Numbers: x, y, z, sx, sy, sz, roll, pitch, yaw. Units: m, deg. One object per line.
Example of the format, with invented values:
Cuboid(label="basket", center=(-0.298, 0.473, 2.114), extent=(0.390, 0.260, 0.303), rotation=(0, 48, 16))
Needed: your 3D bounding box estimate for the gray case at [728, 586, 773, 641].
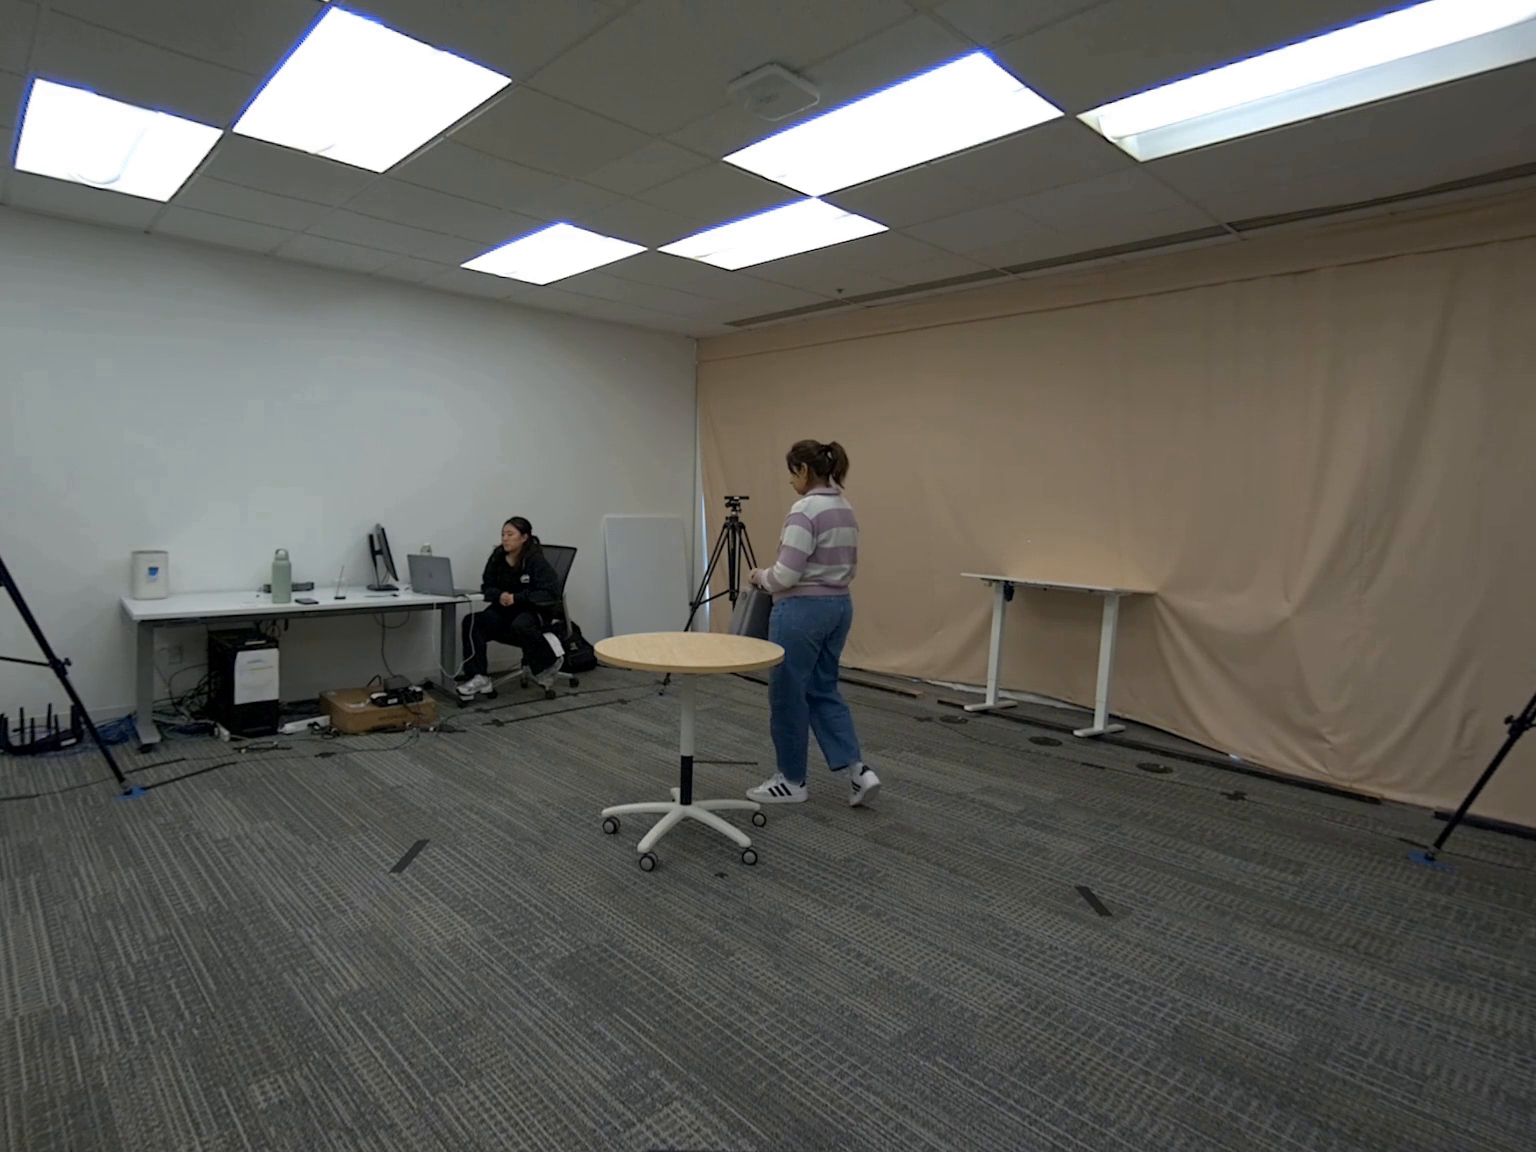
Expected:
Cuboid(label="gray case", center=(-0.058, 0.175, 3.908), extent=(0.107, 0.260, 0.250), rotation=(16, 1, 35))
